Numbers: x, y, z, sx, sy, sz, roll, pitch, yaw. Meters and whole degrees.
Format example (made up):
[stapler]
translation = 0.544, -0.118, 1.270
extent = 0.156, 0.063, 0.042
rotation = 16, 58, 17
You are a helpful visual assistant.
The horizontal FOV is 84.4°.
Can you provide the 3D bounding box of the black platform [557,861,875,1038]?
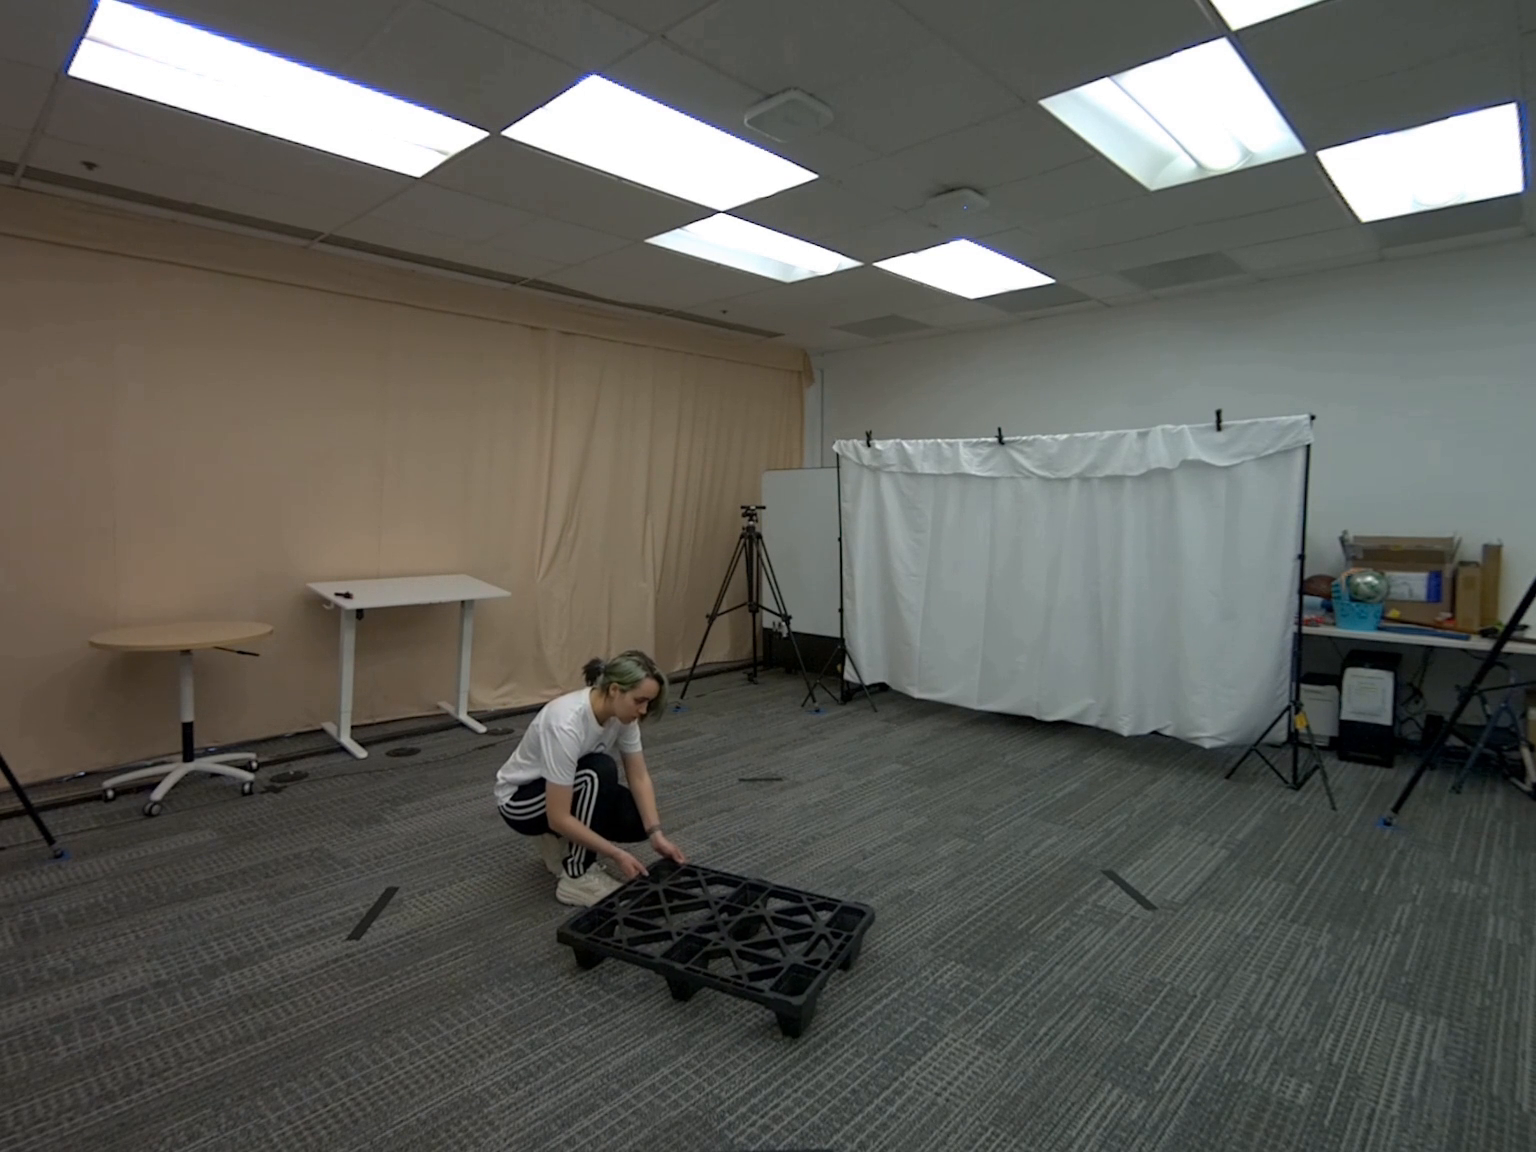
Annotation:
[black platform]
translation = -0.142, 1.112, 2.564
extent = 0.827, 0.143, 0.590
rotation = 2, 6, 27
